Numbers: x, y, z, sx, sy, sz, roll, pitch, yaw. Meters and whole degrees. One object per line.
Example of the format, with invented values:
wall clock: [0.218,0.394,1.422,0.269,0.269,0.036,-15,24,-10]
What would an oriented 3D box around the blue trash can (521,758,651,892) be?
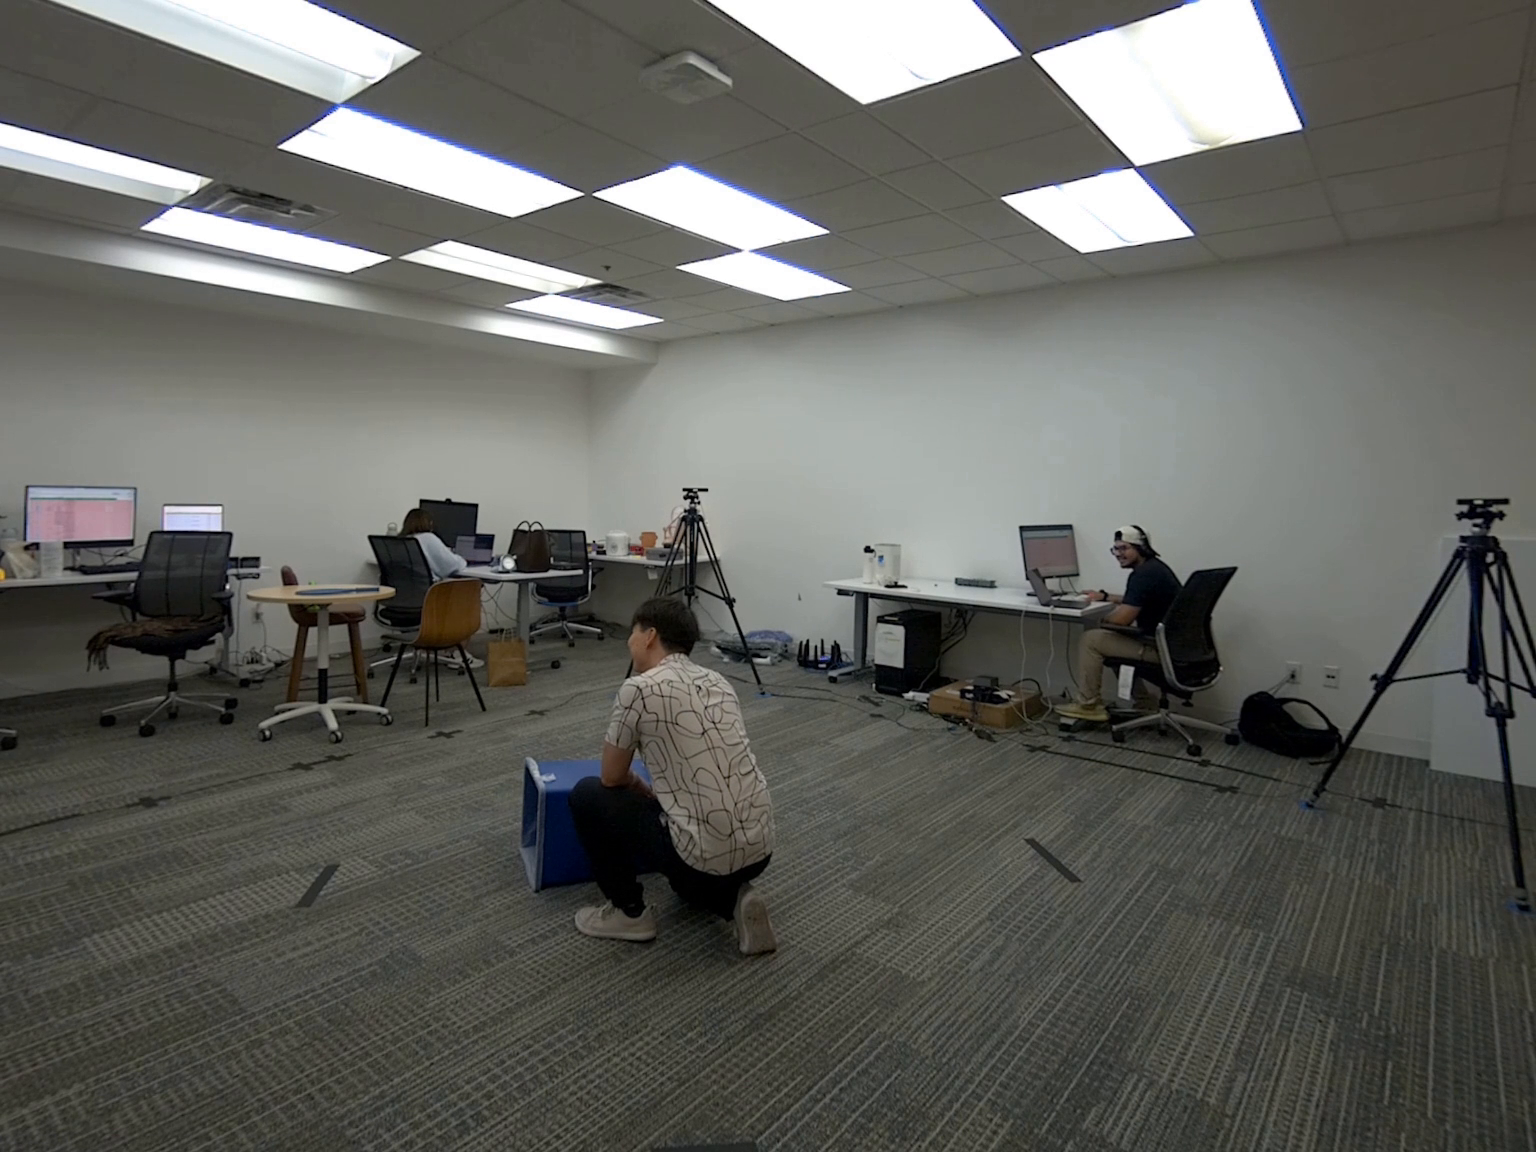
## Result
blue trash can: [-0.545,0.887,3.175,0.698,0.373,0.388,3,4,-22]
